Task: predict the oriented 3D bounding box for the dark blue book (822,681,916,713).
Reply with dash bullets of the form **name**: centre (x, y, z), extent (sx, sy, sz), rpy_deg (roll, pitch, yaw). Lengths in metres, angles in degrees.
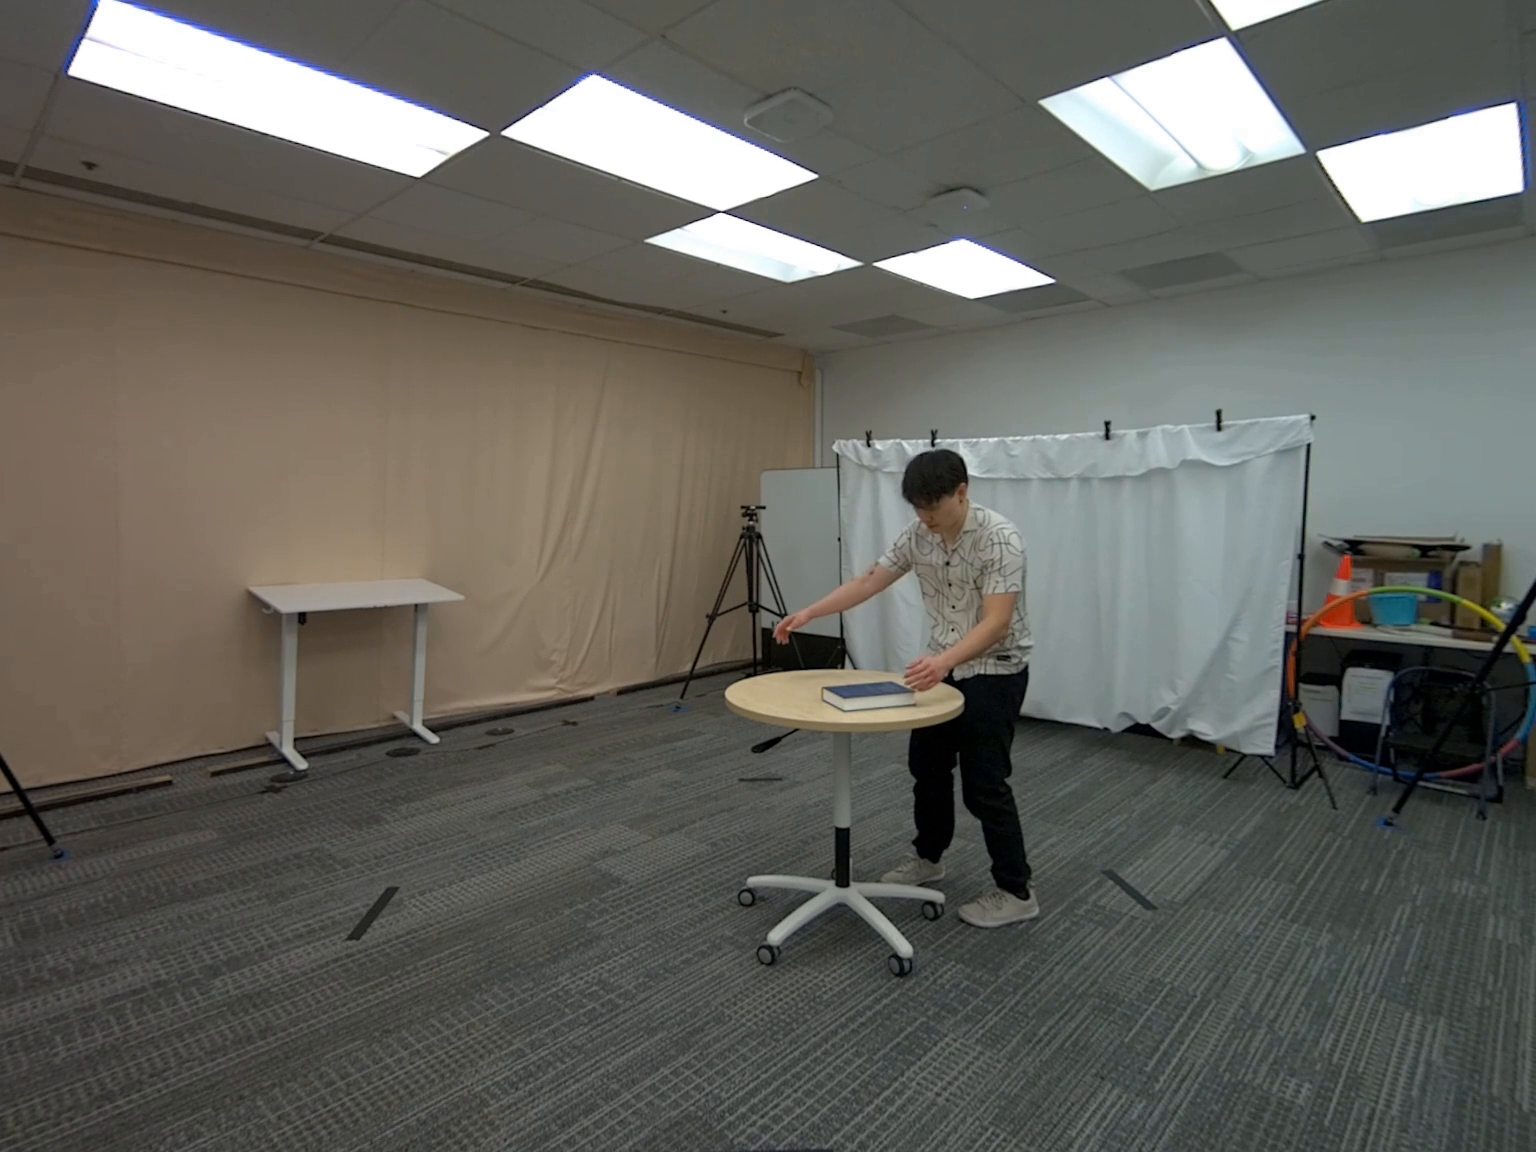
- **dark blue book**: centre (0.313, 0.374, 2.594), extent (0.241, 0.045, 0.167), rpy_deg (-2, 5, -18)
